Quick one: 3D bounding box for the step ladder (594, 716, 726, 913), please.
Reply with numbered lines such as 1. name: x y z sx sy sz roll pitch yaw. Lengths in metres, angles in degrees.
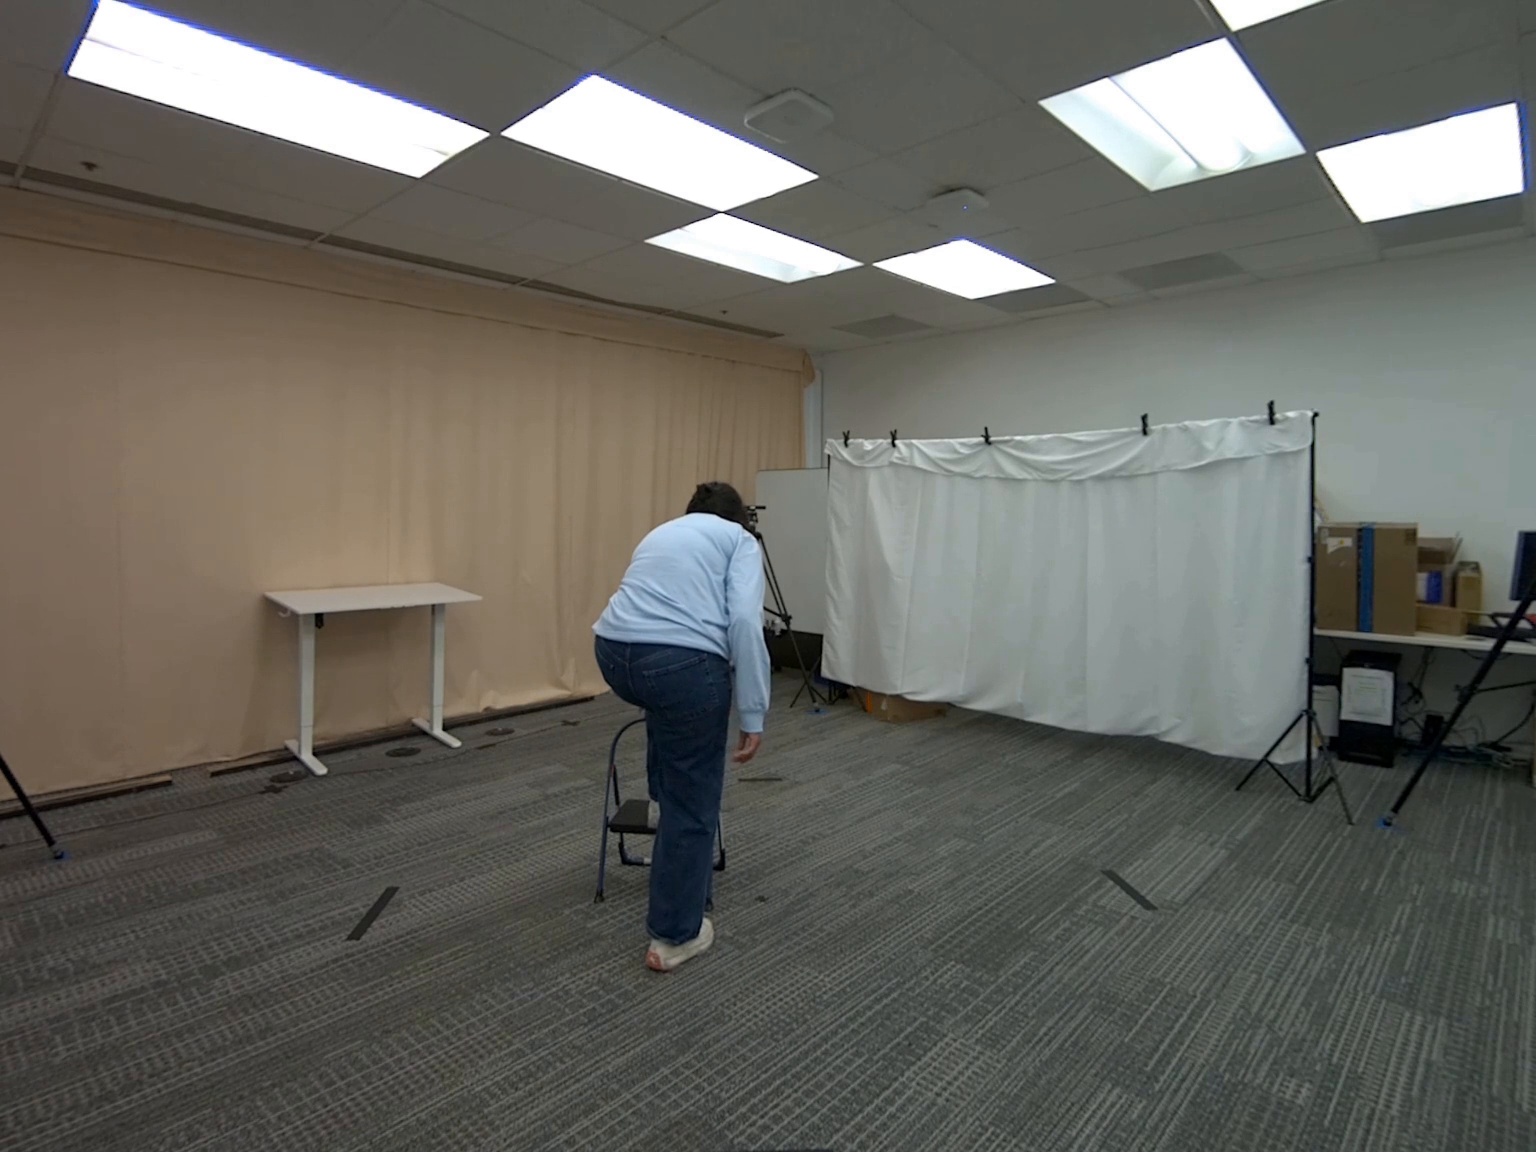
1. step ladder: -0.387 0.837 3.086 0.435 0.605 0.347 0 4 8
